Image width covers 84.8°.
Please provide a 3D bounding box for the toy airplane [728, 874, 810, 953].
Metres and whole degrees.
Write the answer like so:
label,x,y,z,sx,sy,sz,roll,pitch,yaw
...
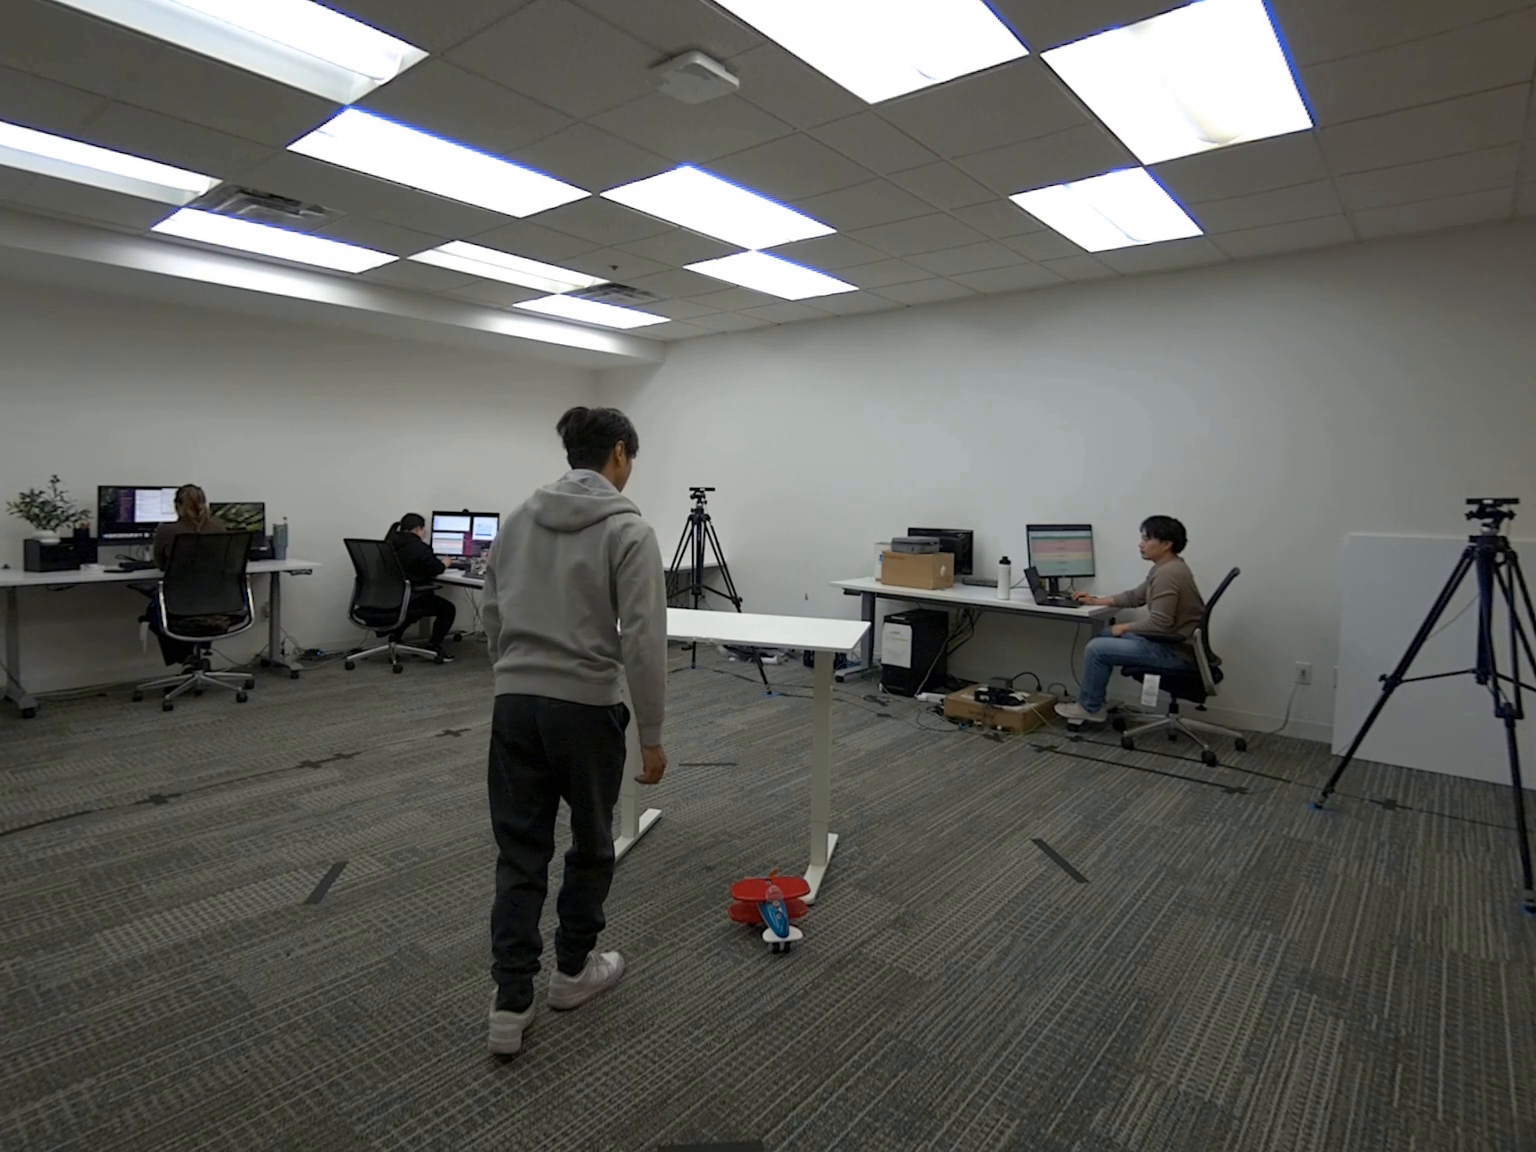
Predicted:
label,x,y,z,sx,sy,sz,roll,pitch,yaw
toy airplane,0.023,1.040,2.648,0.243,0.156,0.268,-3,6,-42
